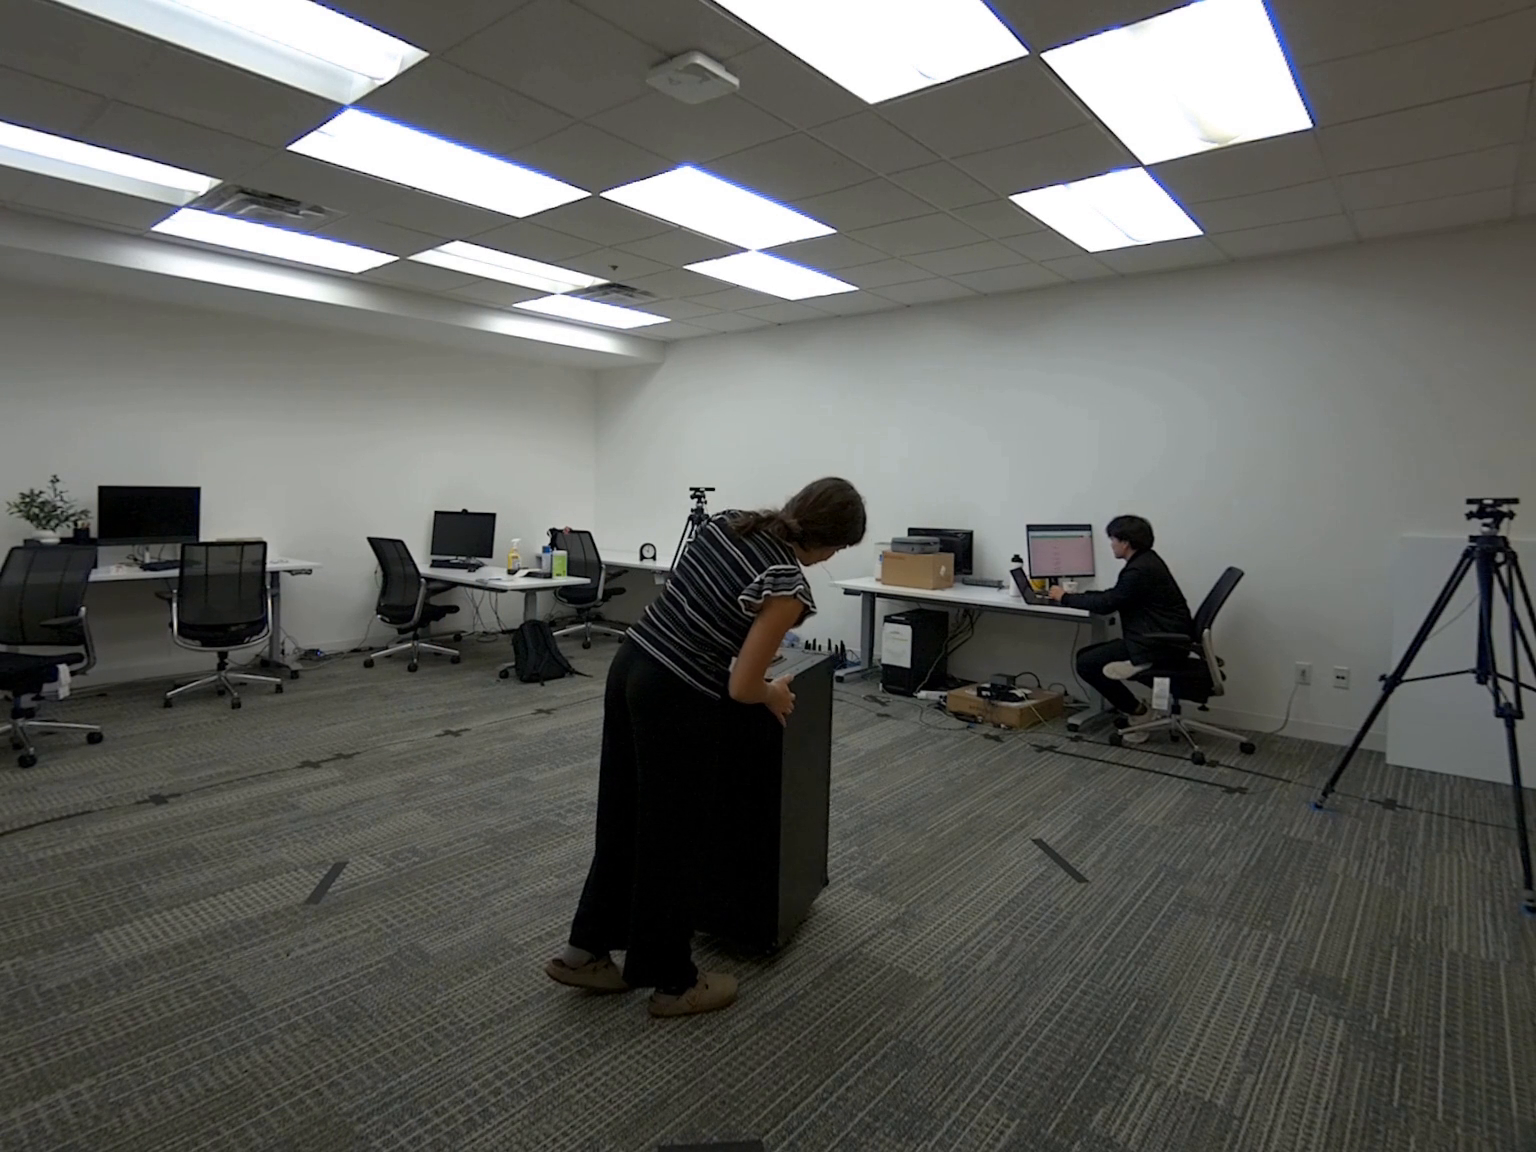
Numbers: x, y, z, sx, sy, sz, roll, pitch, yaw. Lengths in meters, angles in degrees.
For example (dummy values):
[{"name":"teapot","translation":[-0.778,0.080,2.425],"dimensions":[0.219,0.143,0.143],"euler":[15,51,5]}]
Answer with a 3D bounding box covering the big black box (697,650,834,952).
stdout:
[{"name":"big black box","translation":[-0.054,0.685,2.700],"dimensions":[0.406,0.858,0.510],"euler":[2,4,23]}]
